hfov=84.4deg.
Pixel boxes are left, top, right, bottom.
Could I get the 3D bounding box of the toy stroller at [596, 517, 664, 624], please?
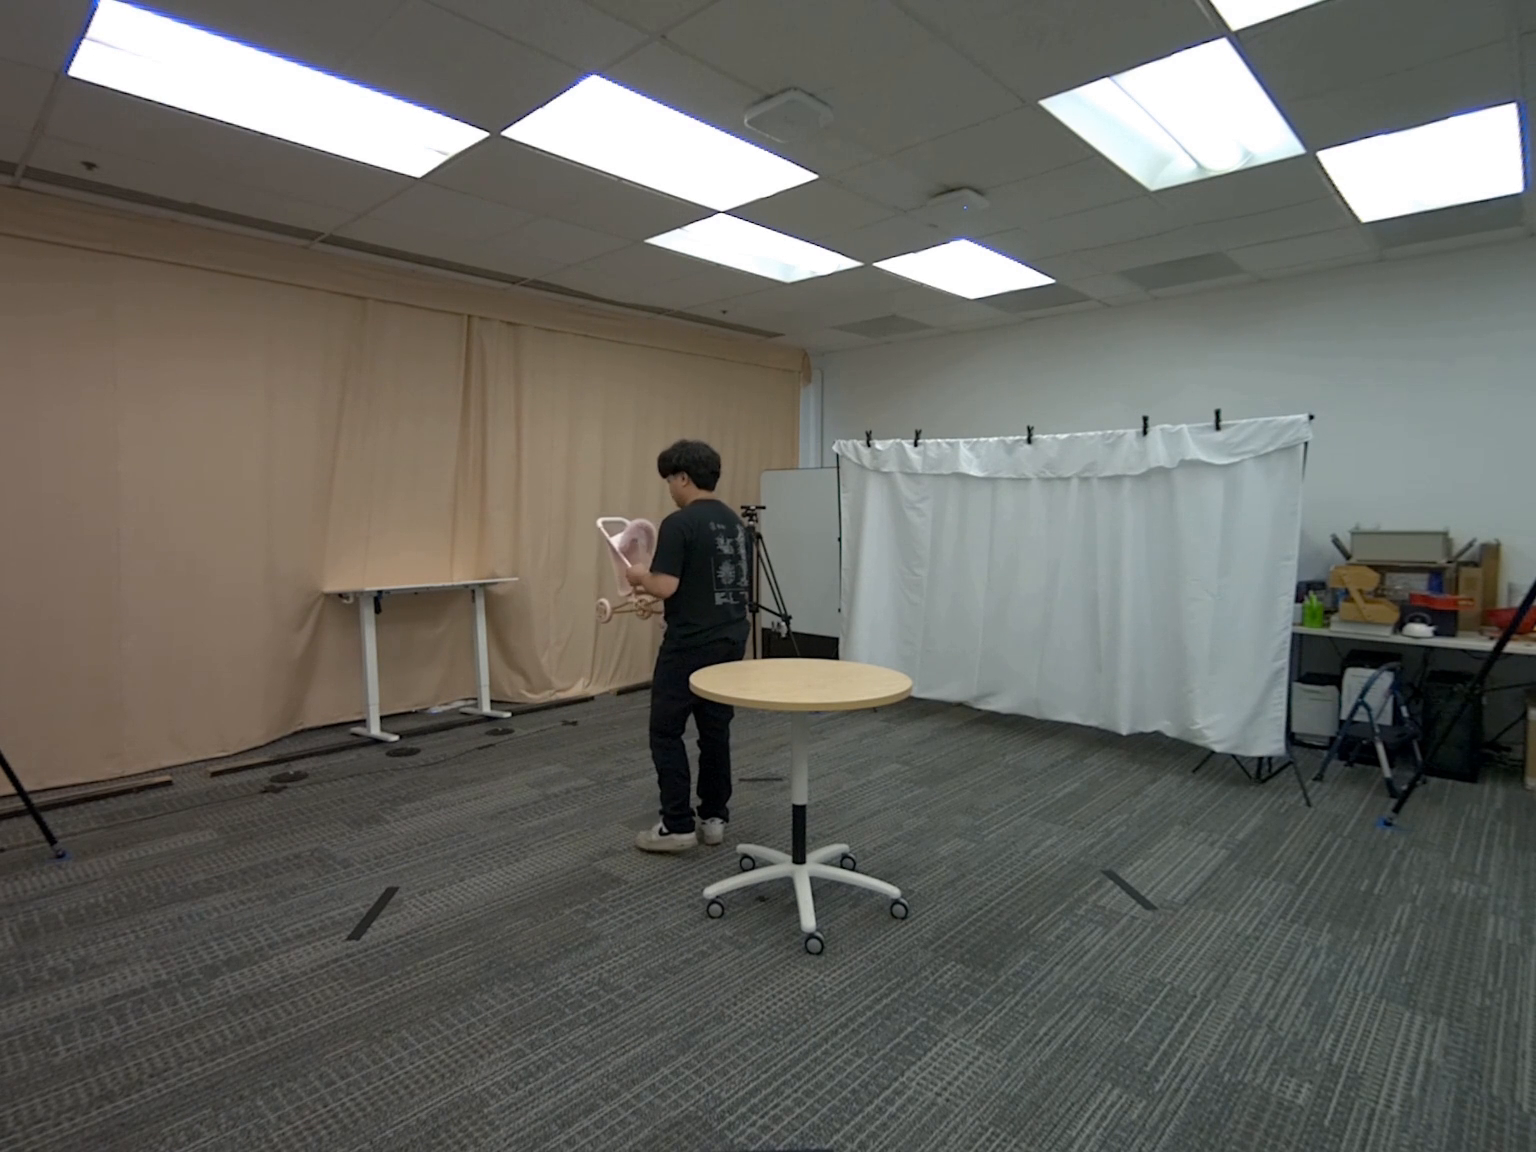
[{"bbox_3d":[-0.575,-0.009,3.728,0.351,0.536,0.272,-7,-4,44],"label":"toy stroller"}]
